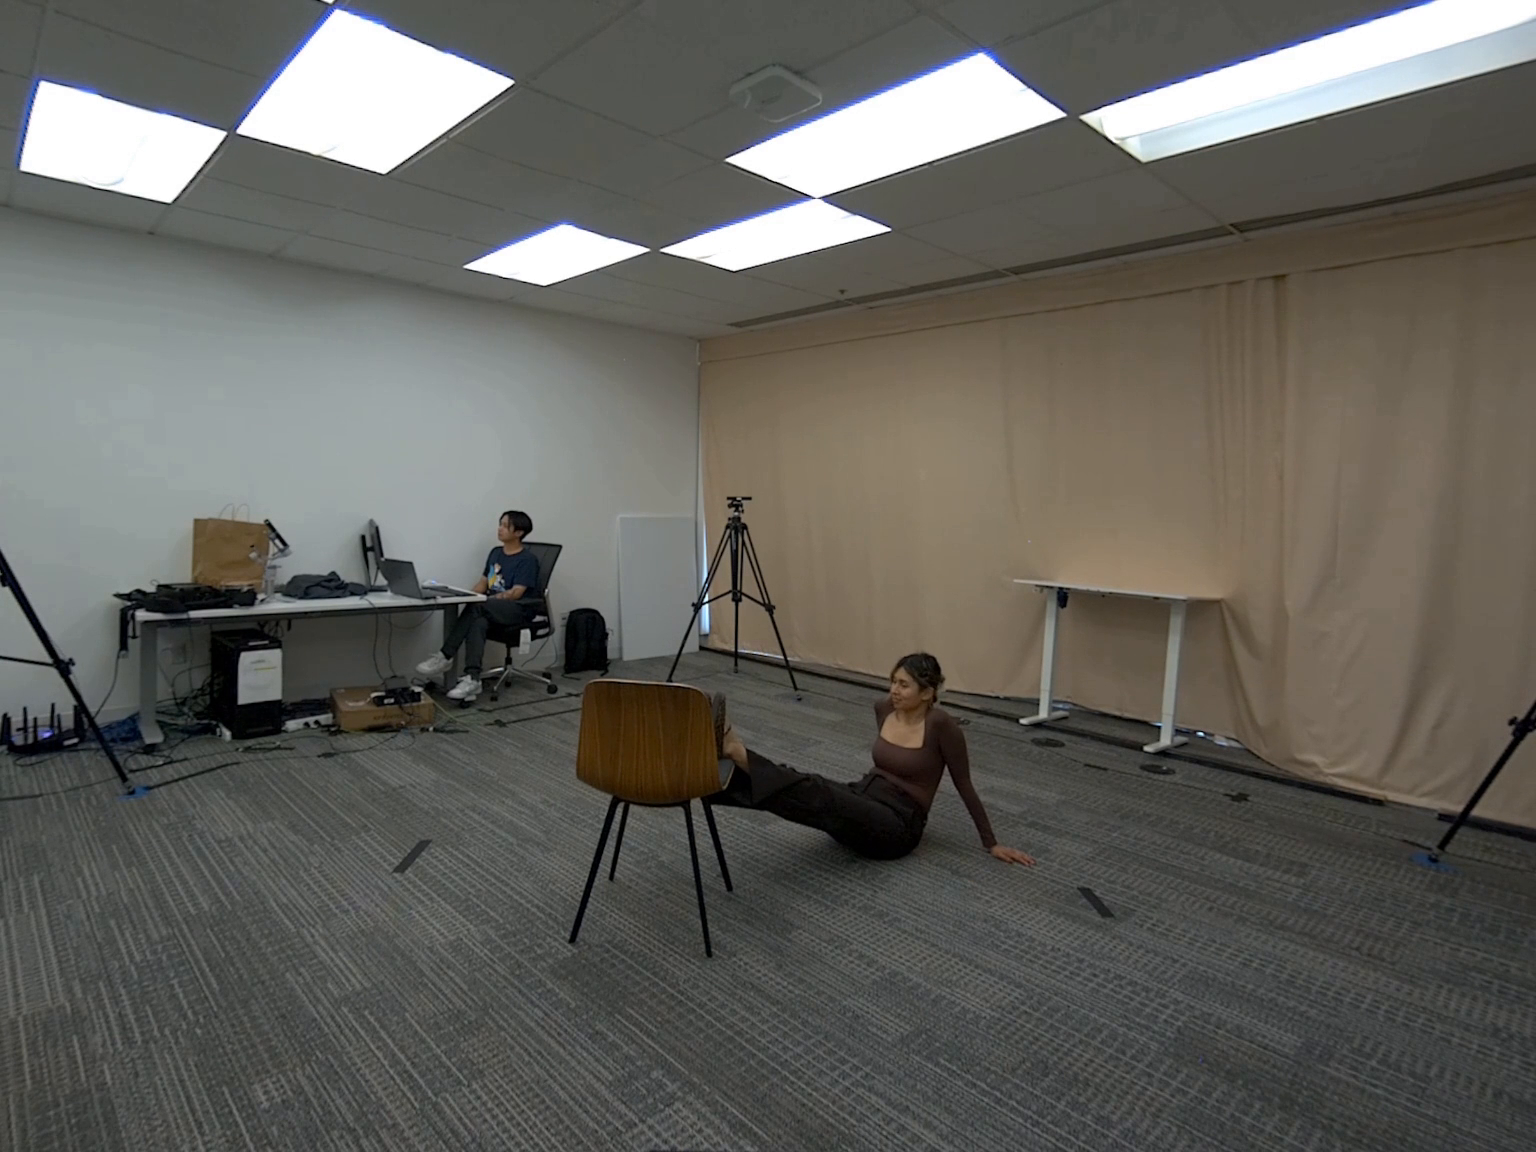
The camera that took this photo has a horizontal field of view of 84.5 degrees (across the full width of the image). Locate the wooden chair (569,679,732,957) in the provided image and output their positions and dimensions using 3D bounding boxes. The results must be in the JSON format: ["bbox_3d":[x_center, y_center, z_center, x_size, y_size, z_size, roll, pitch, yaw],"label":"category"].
[{"bbox_3d":[-0.365,0.704,2.771,0.481,0.873,0.522,2,7,7],"label":"wooden chair"}]
